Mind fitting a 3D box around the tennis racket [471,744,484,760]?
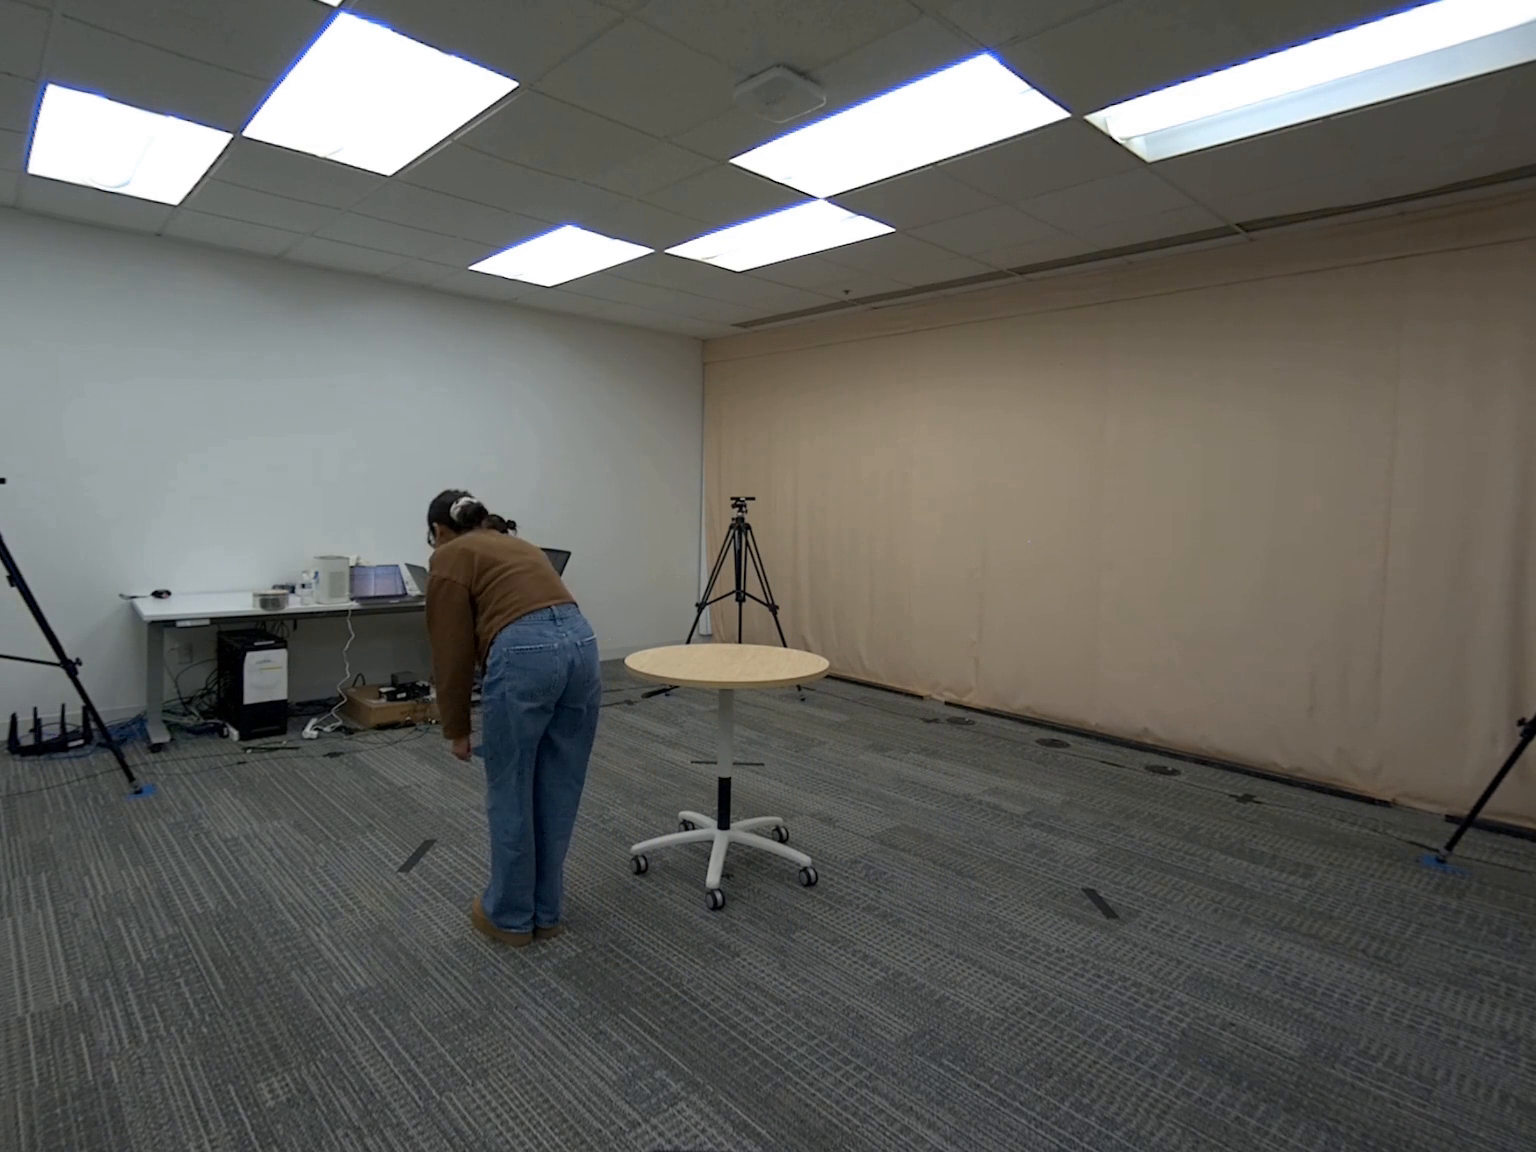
[{"bbox_3d":[-0.915,0.618,2.986,0.208,0.032,0.437,16,-29,-33],"label":"tennis racket"}]
